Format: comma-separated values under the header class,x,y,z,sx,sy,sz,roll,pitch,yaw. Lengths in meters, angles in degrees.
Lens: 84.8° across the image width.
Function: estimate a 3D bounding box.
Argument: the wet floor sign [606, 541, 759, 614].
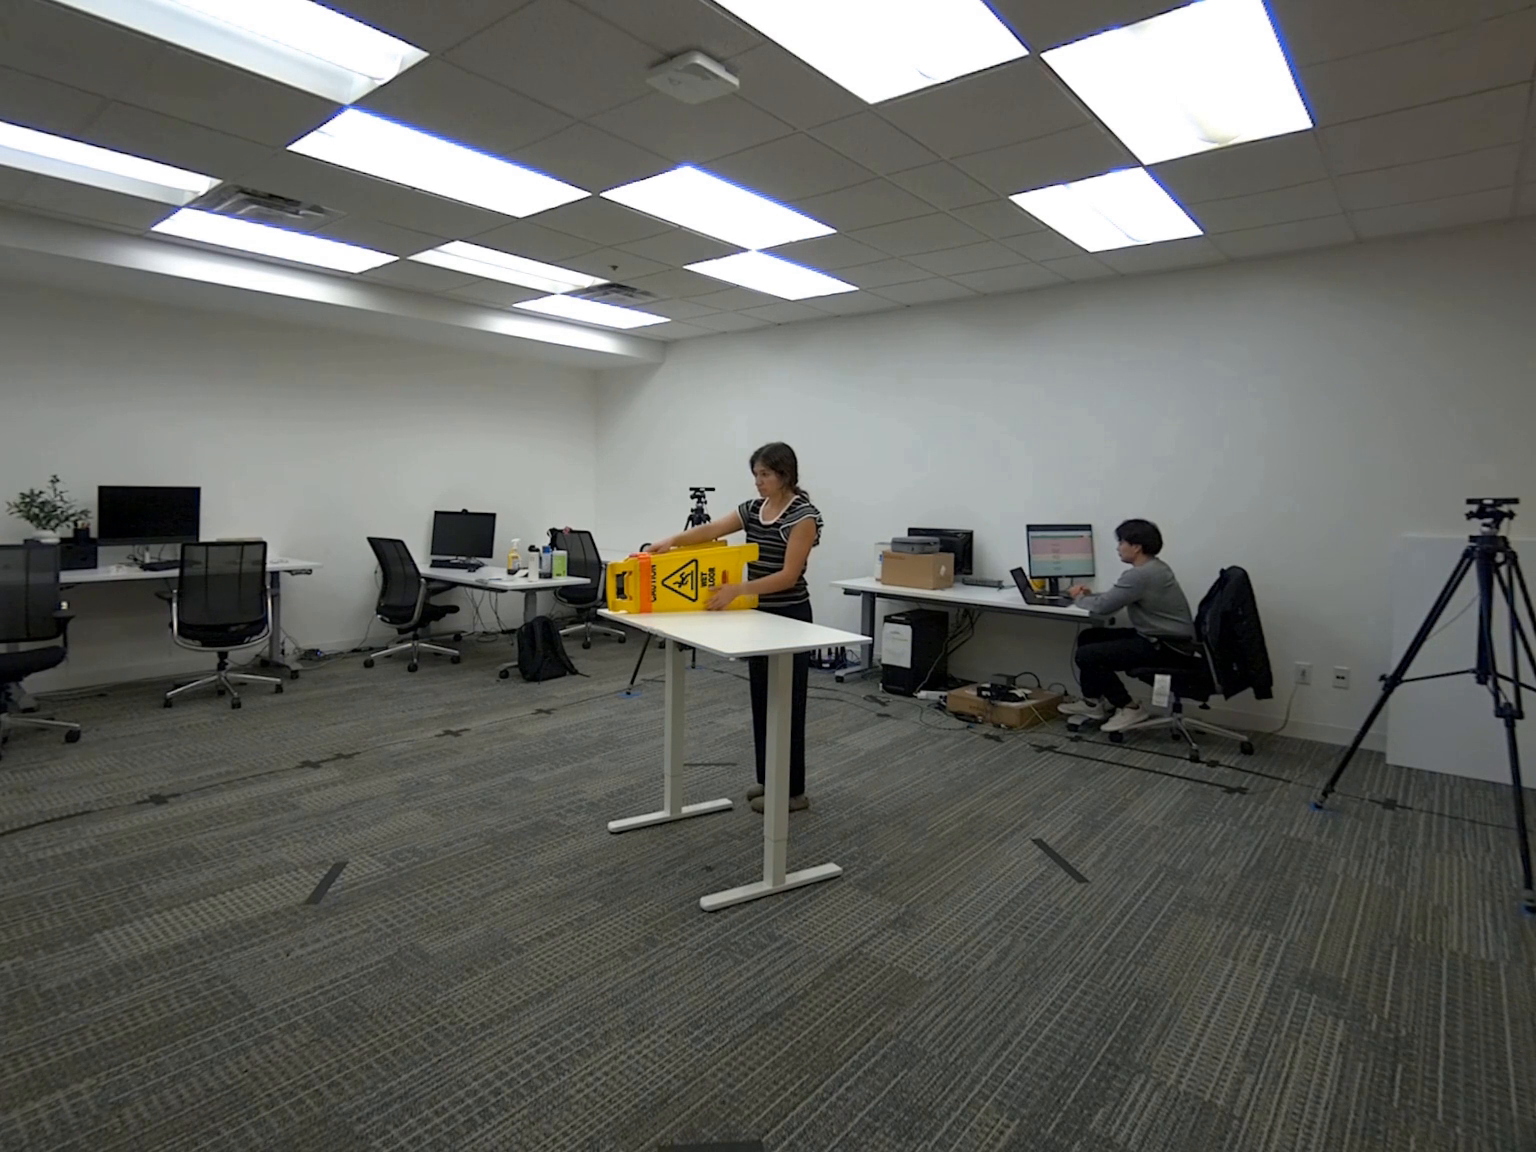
class,x,y,z,sx,sy,sz,roll,pitch,yaw
wet floor sign,-0.386,0.012,3.525,0.629,0.280,0.299,-7,9,-35
